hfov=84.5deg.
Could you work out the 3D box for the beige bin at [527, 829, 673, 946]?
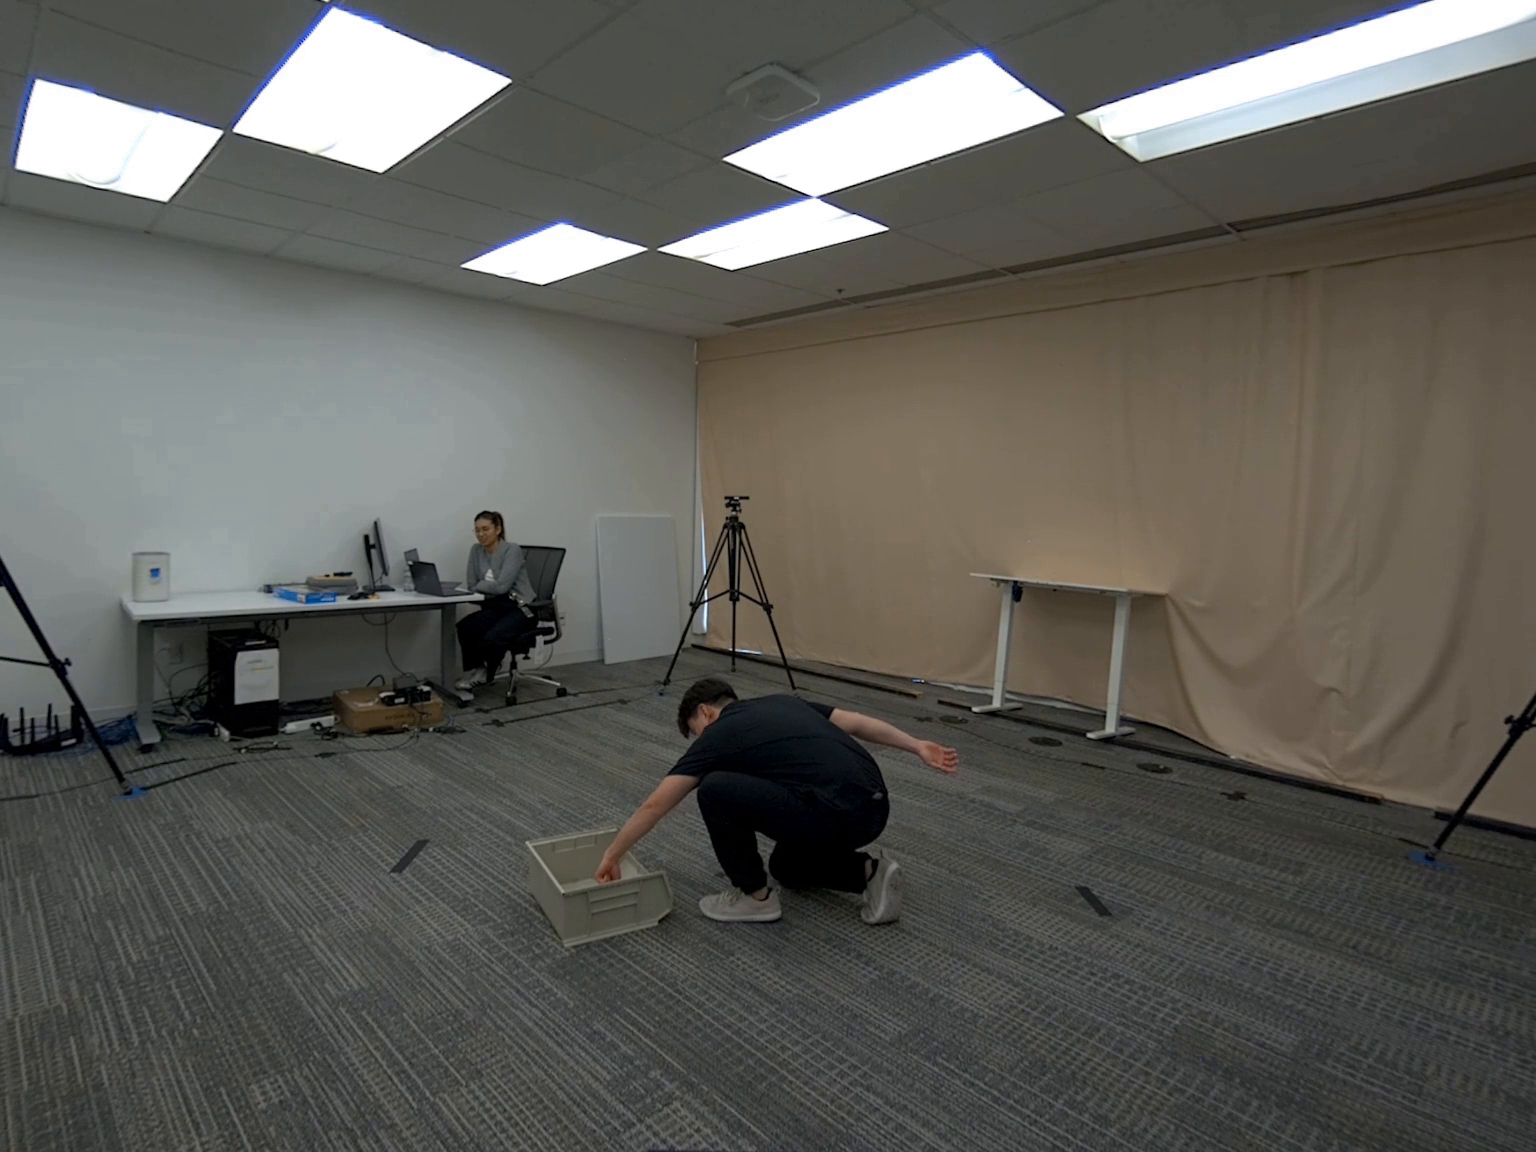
[{"bbox_3d":[-0.576,1.024,2.840,0.370,0.188,0.432,-2,7,-30],"label":"beige bin"}]
